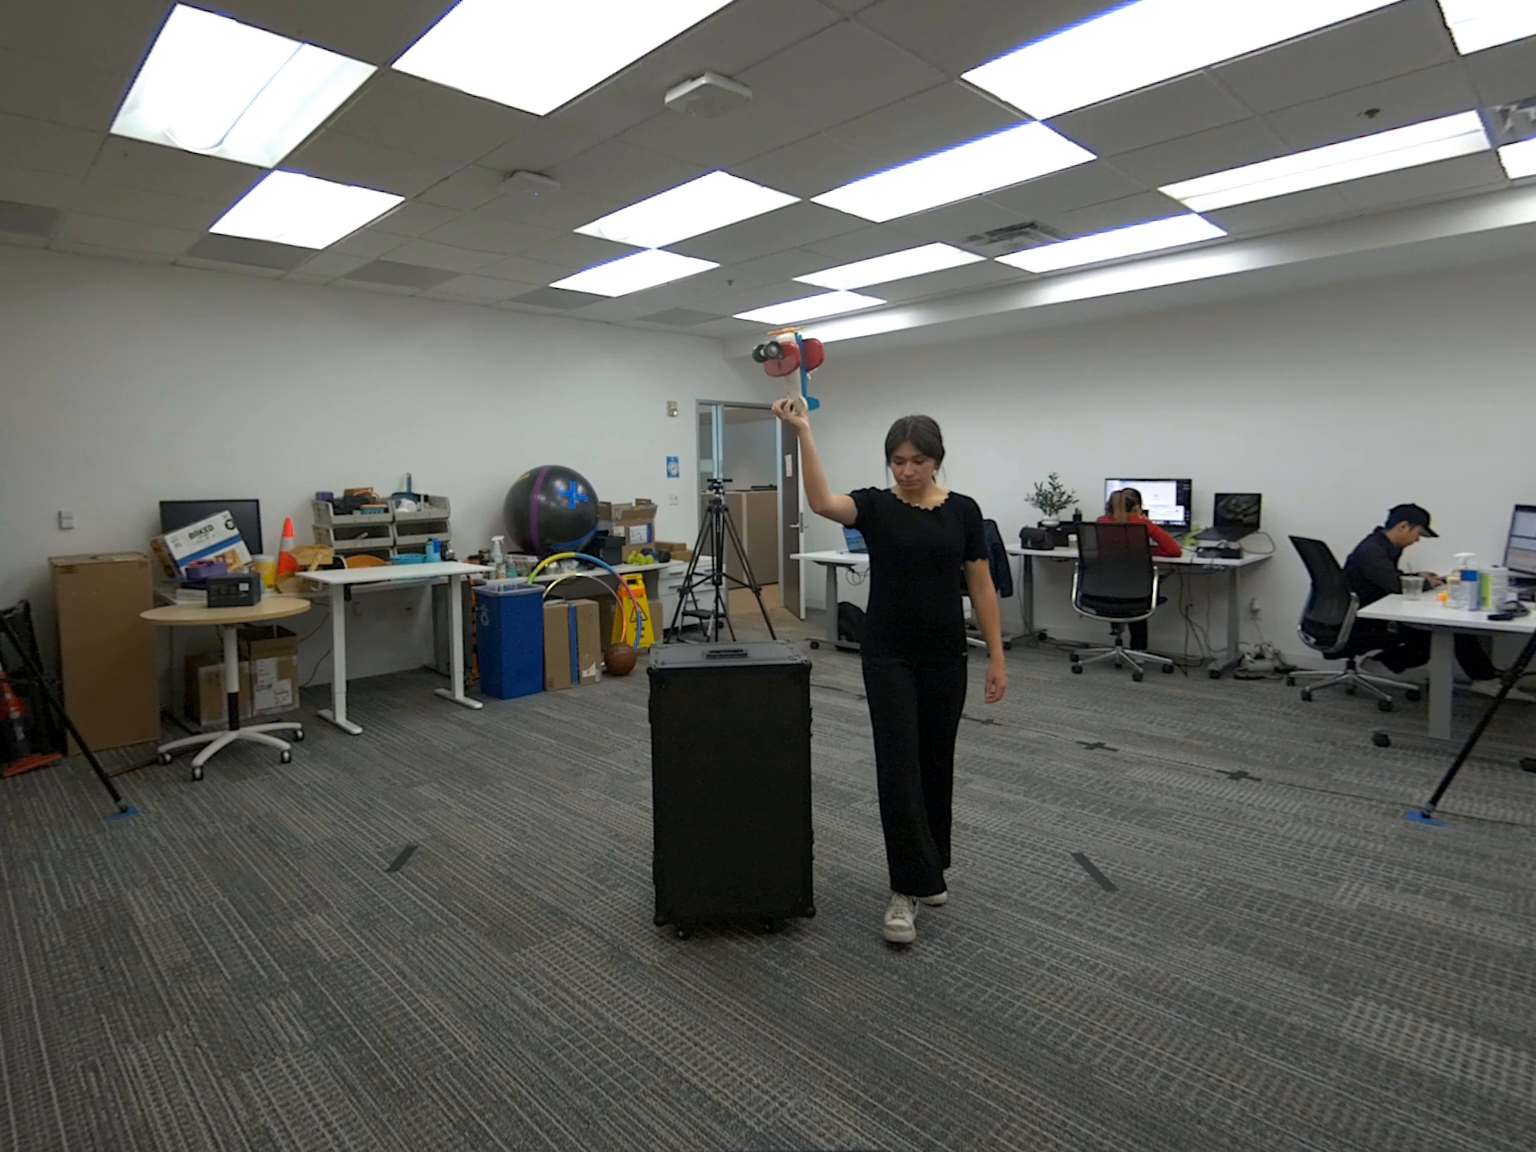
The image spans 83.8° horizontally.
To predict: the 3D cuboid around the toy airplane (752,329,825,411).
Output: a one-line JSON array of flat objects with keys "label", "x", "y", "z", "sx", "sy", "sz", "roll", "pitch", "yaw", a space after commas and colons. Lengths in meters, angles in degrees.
[{"label": "toy airplane", "x": 0.059, "y": -0.623, "z": 2.621, "sx": 0.155, "sy": 0.251, "sz": 0.261, "roll": -26, "pitch": 42, "yaw": -16}]
